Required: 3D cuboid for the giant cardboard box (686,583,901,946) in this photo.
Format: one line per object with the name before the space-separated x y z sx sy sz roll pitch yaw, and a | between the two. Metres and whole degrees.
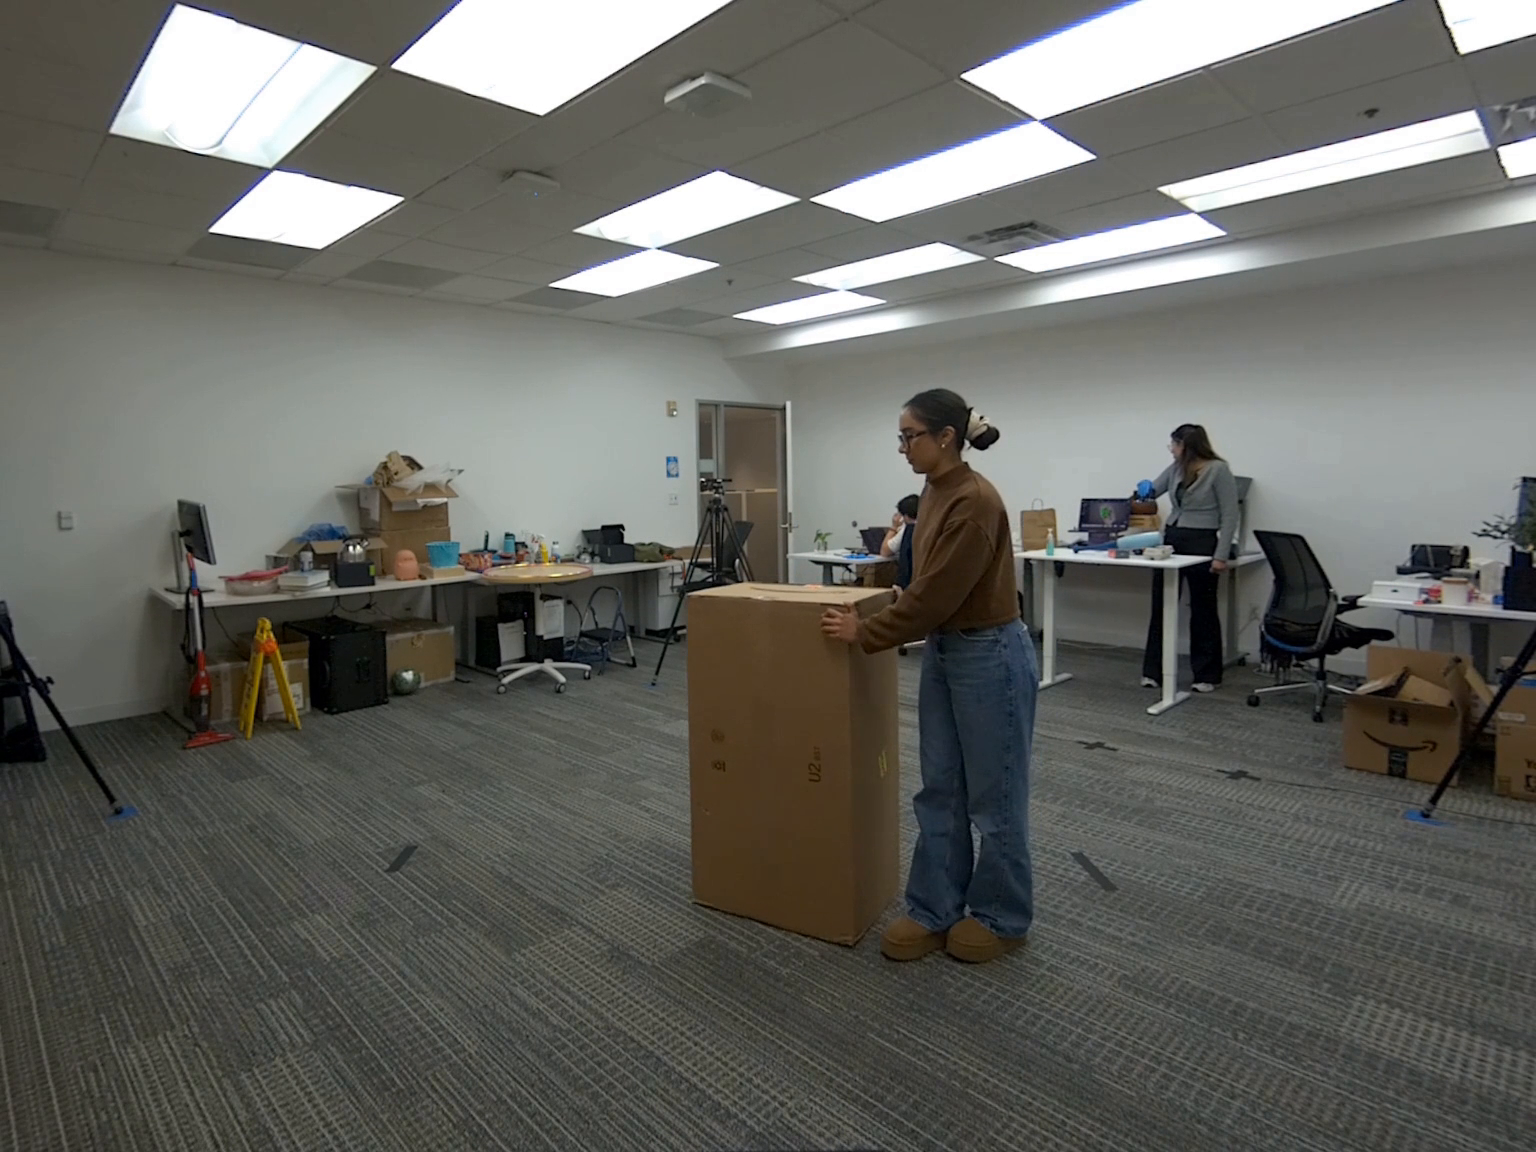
giant cardboard box | 0.089 0.563 2.838 0.593 1.023 0.416 1 4 31
